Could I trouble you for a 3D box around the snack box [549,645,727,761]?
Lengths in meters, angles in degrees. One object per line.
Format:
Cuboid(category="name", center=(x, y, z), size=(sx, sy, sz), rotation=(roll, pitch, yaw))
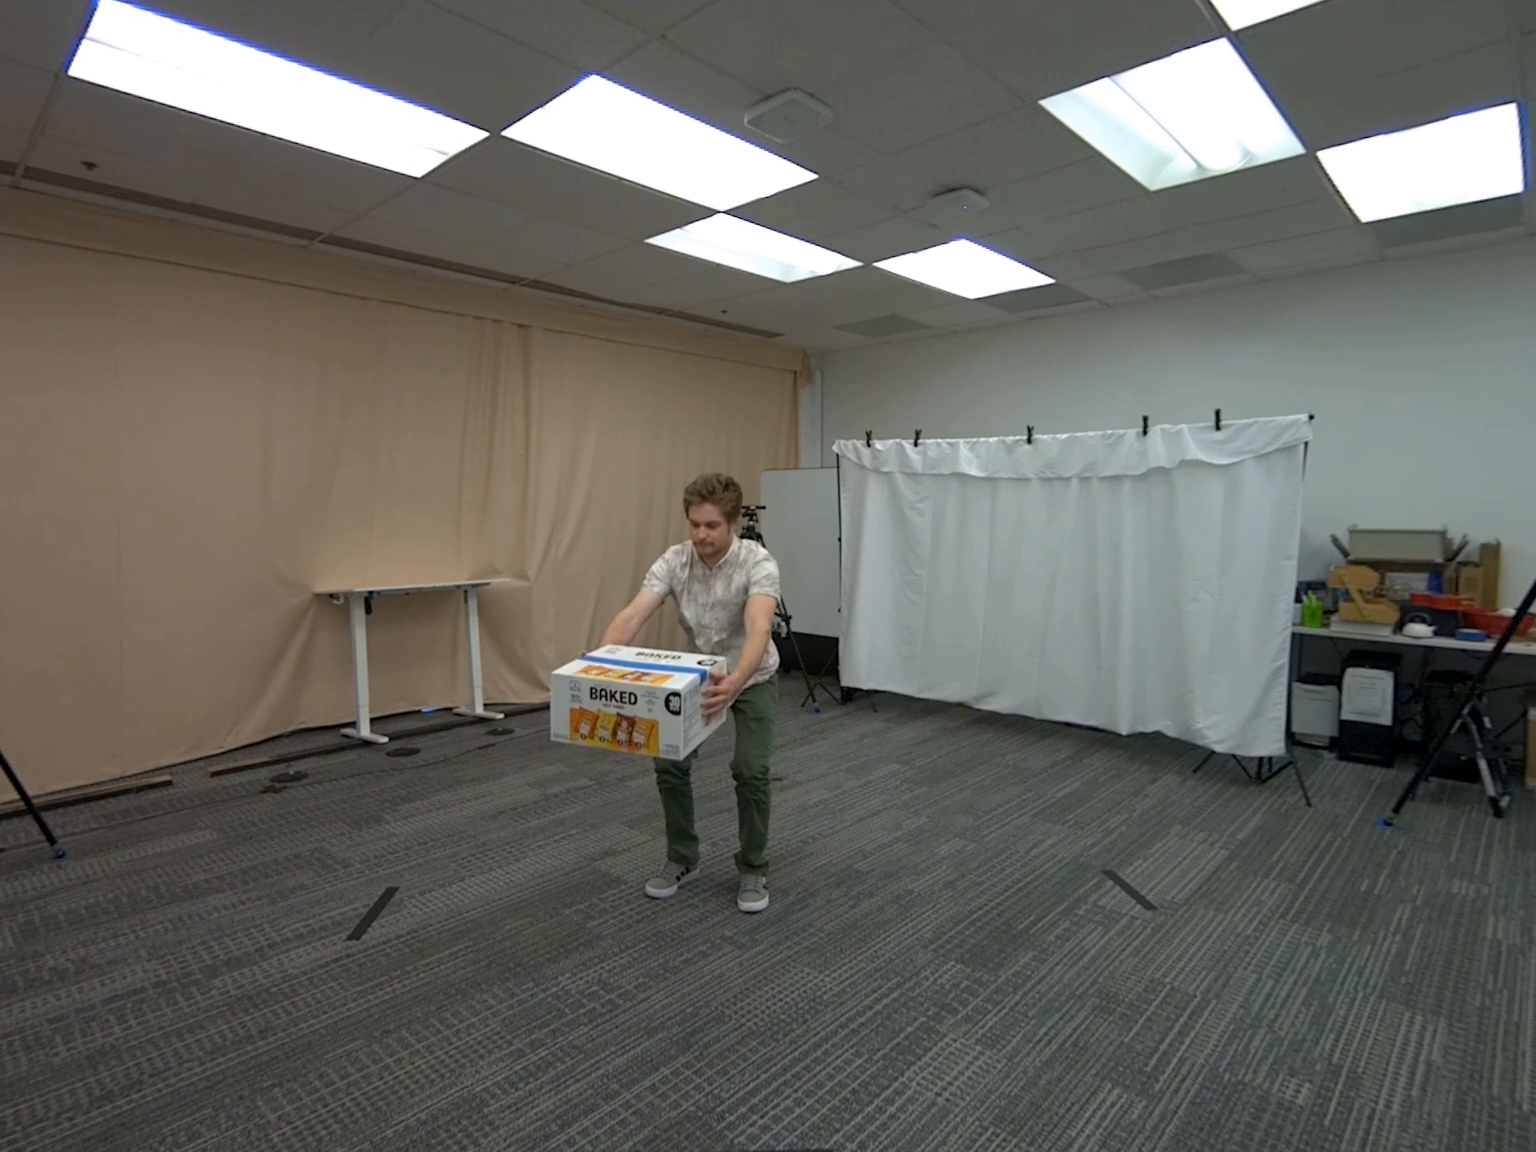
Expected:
Cuboid(category="snack box", center=(-0.369, 0.358, 2.458), size=(0.414, 0.204, 0.335), rotation=(3, 9, 19))
